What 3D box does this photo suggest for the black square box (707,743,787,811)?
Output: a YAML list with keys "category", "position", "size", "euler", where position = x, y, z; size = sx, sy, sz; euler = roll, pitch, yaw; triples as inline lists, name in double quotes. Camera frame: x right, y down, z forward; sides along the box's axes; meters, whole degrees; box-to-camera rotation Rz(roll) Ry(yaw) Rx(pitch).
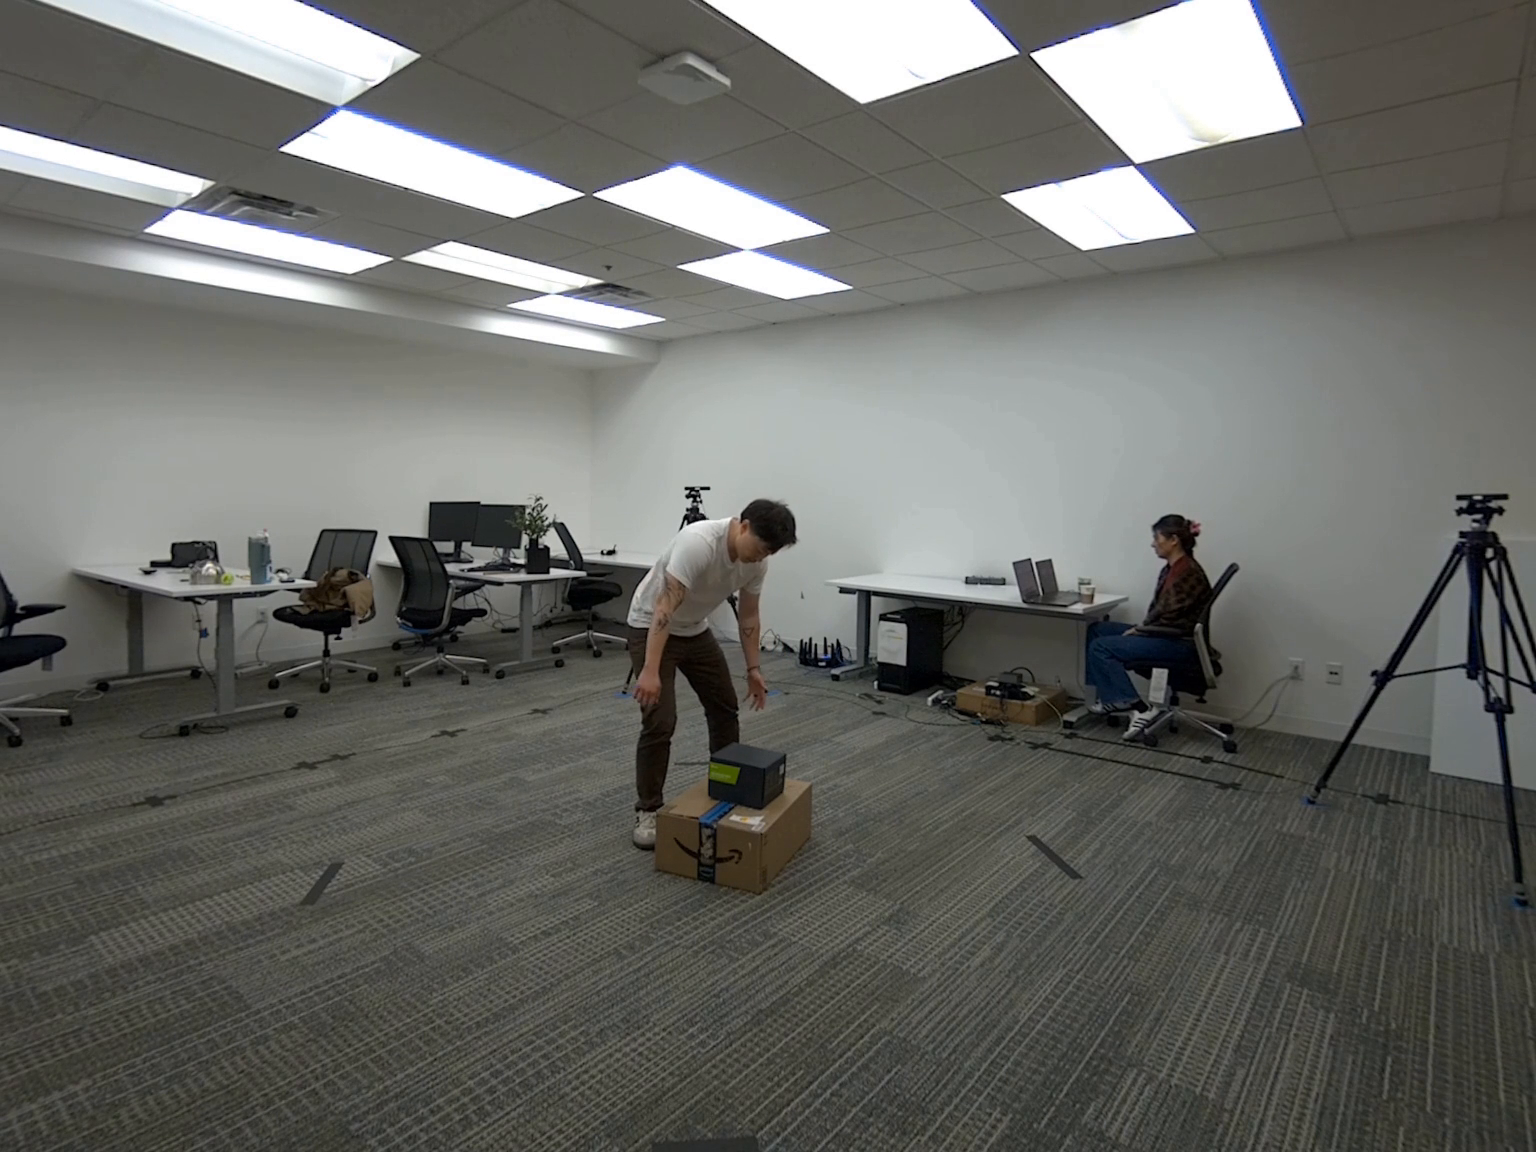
- category: "black square box"
  position: [-0.089, 0.753, 3.245]
  size: [0.234, 0.155, 0.212]
  euler: [6, 6, 25]
